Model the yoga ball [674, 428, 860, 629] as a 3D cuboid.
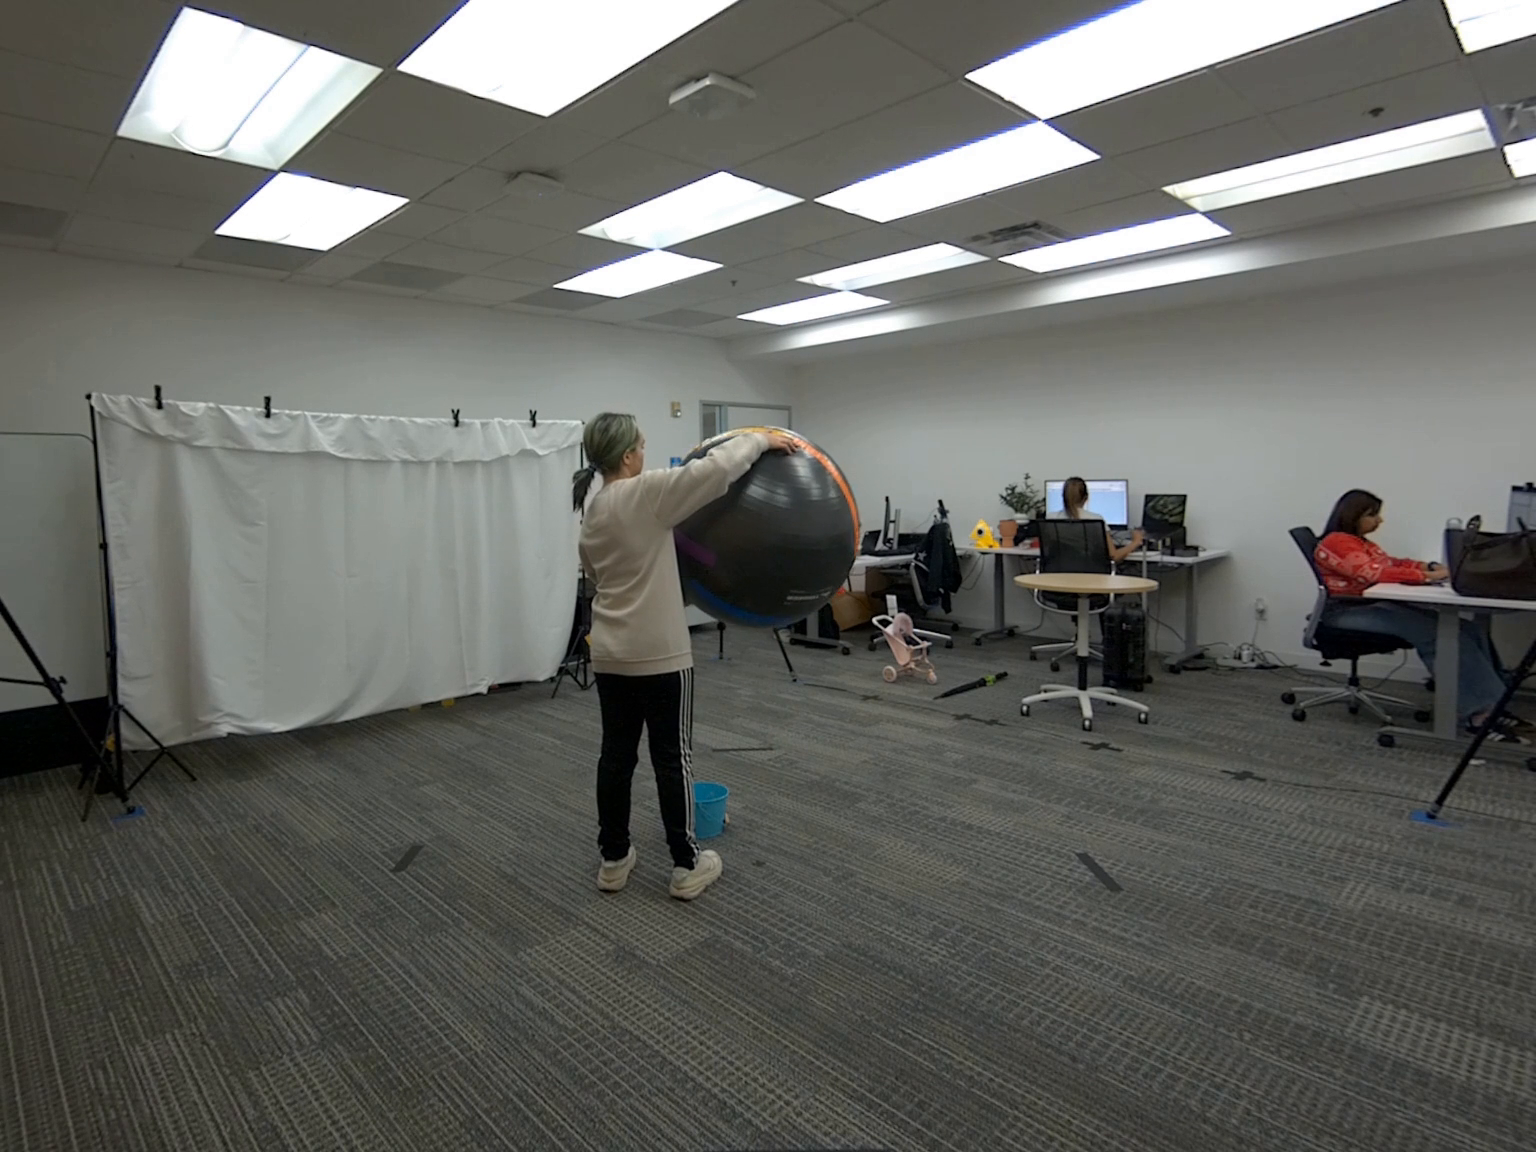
[{"bbox_3d":[-0.034,-0.182,3.226,0.757,0.755,0.762,-1,5,-2],"label":"yoga ball"}]
